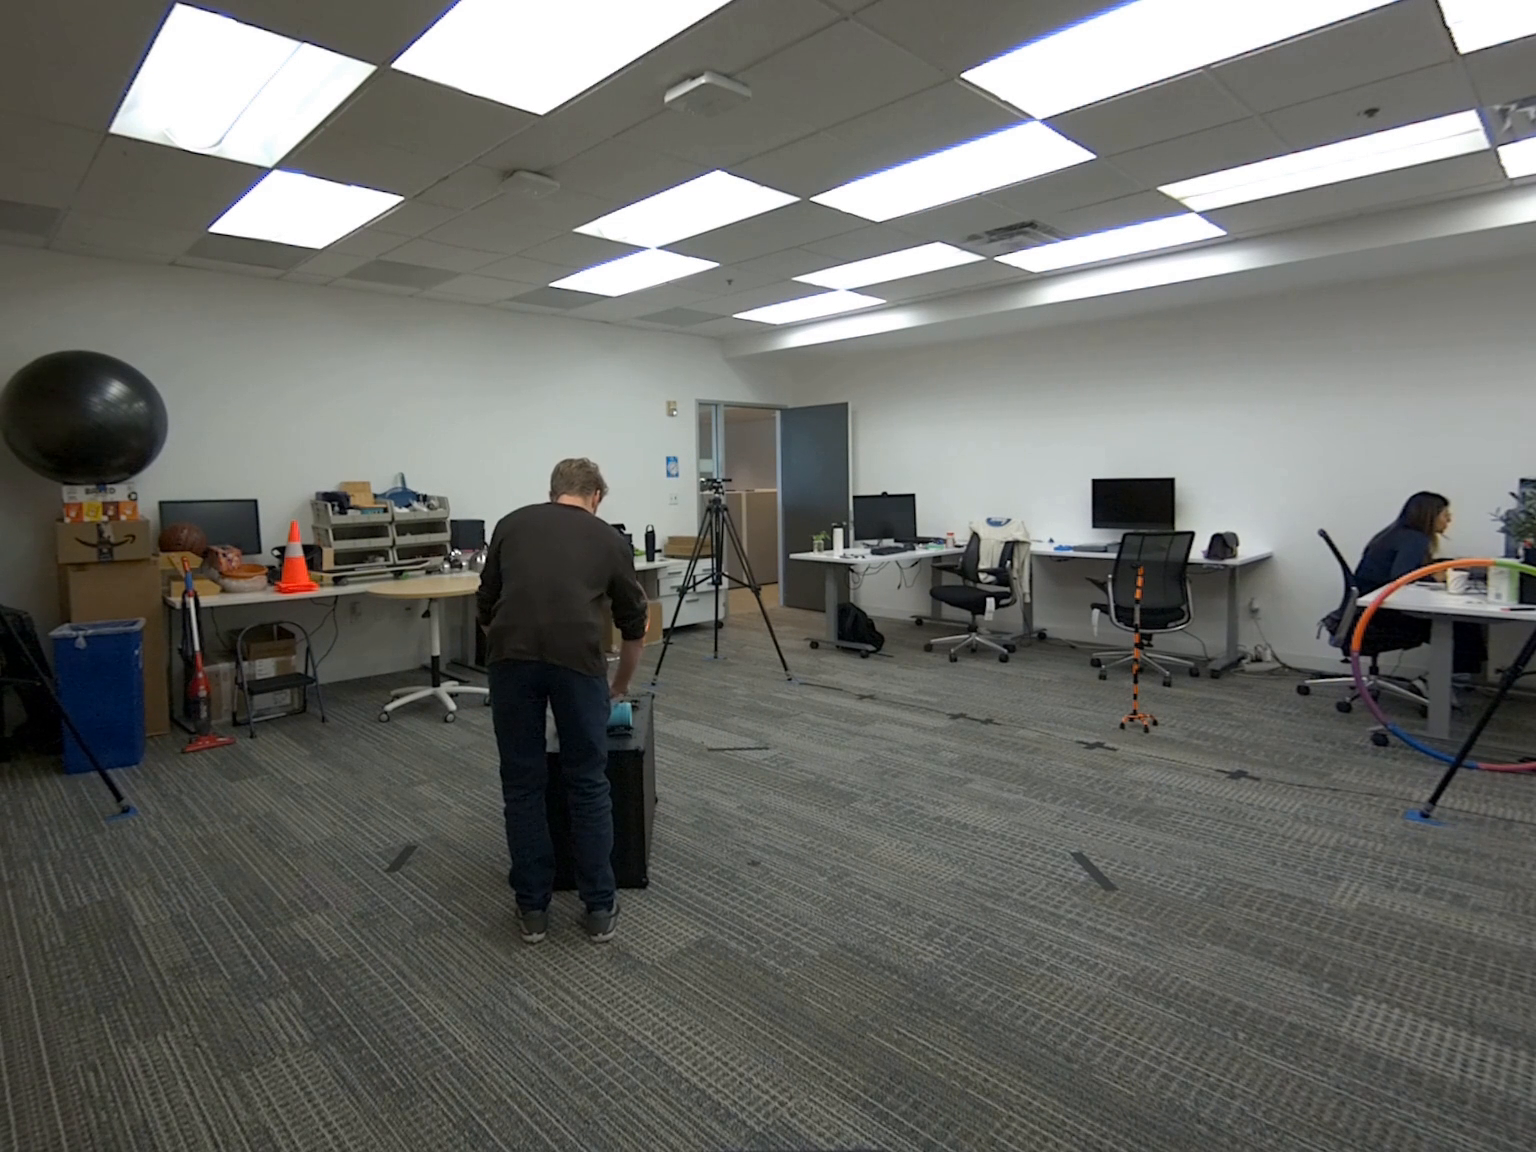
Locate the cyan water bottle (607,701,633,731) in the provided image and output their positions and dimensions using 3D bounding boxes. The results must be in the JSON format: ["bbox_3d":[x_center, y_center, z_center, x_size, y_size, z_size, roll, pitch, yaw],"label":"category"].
[{"bbox_3d":[-0.647,0.518,3.168,0.282,0.092,0.093,-1,5,-3],"label":"cyan water bottle"}]
